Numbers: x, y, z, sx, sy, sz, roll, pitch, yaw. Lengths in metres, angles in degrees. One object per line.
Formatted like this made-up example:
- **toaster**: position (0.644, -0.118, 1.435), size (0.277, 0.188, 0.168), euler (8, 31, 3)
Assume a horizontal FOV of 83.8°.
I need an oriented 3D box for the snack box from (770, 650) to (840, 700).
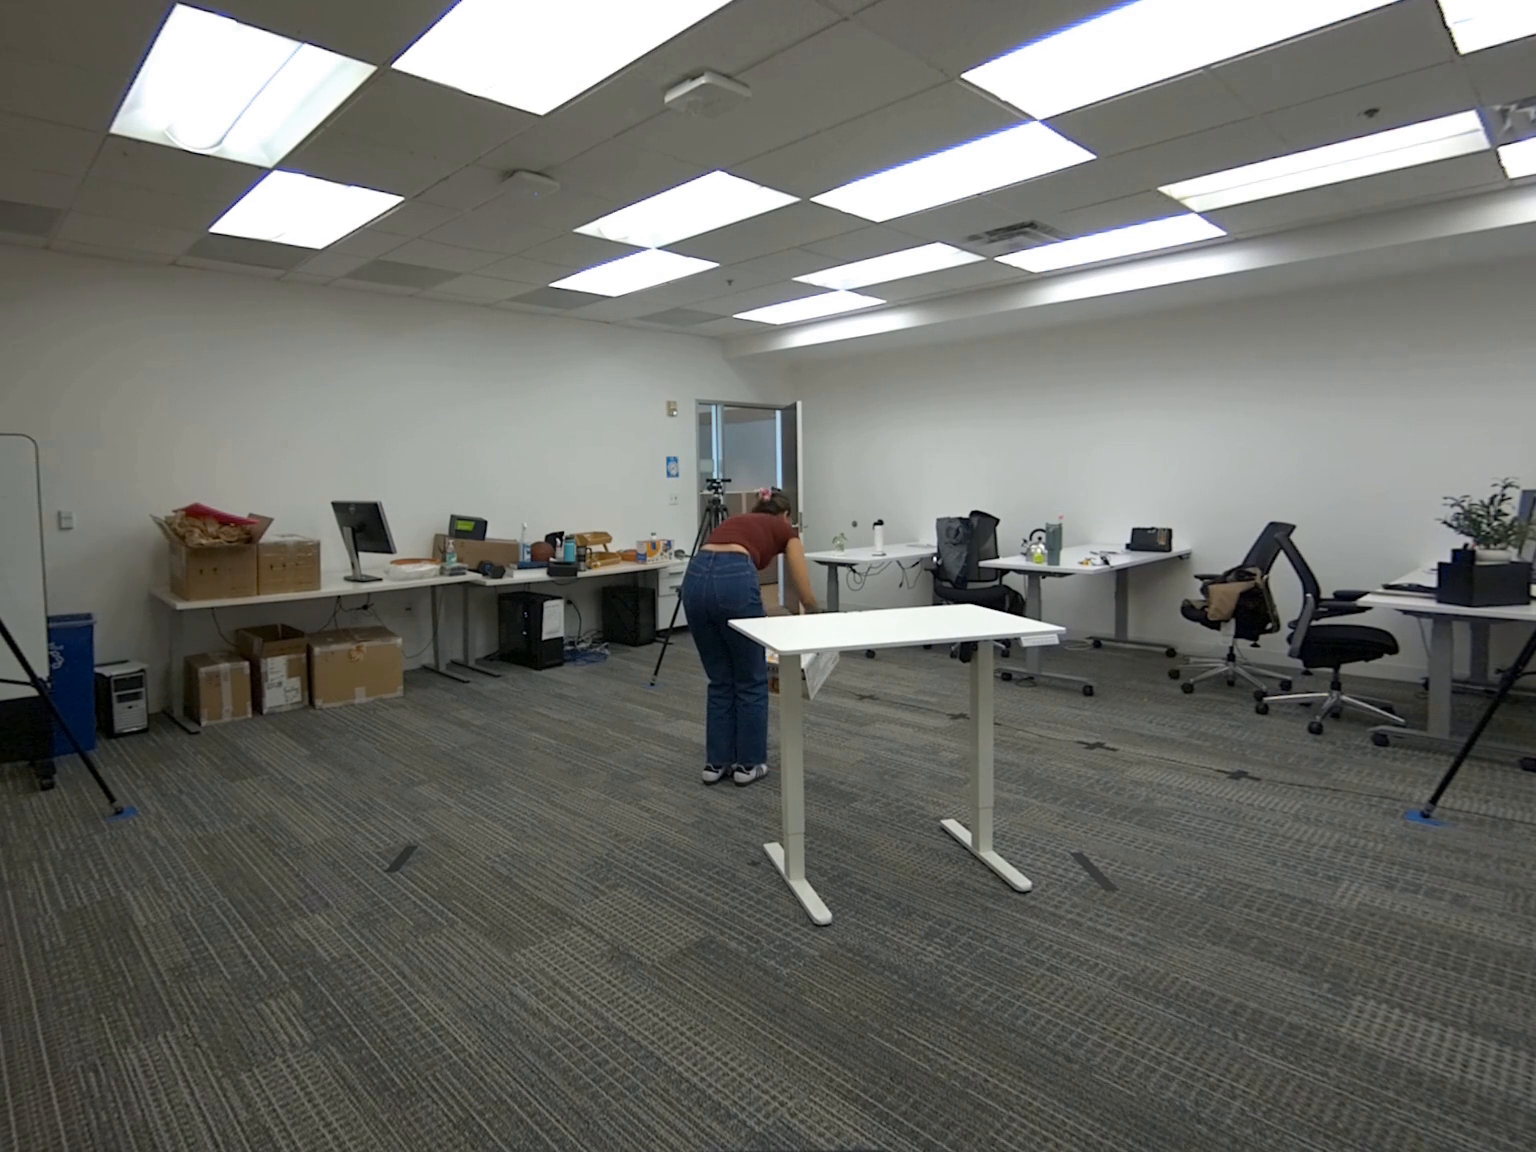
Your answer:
- **snack box**: position (0.098, 0.403, 4.308), size (0.417, 0.200, 0.340), euler (6, 35, 32)
